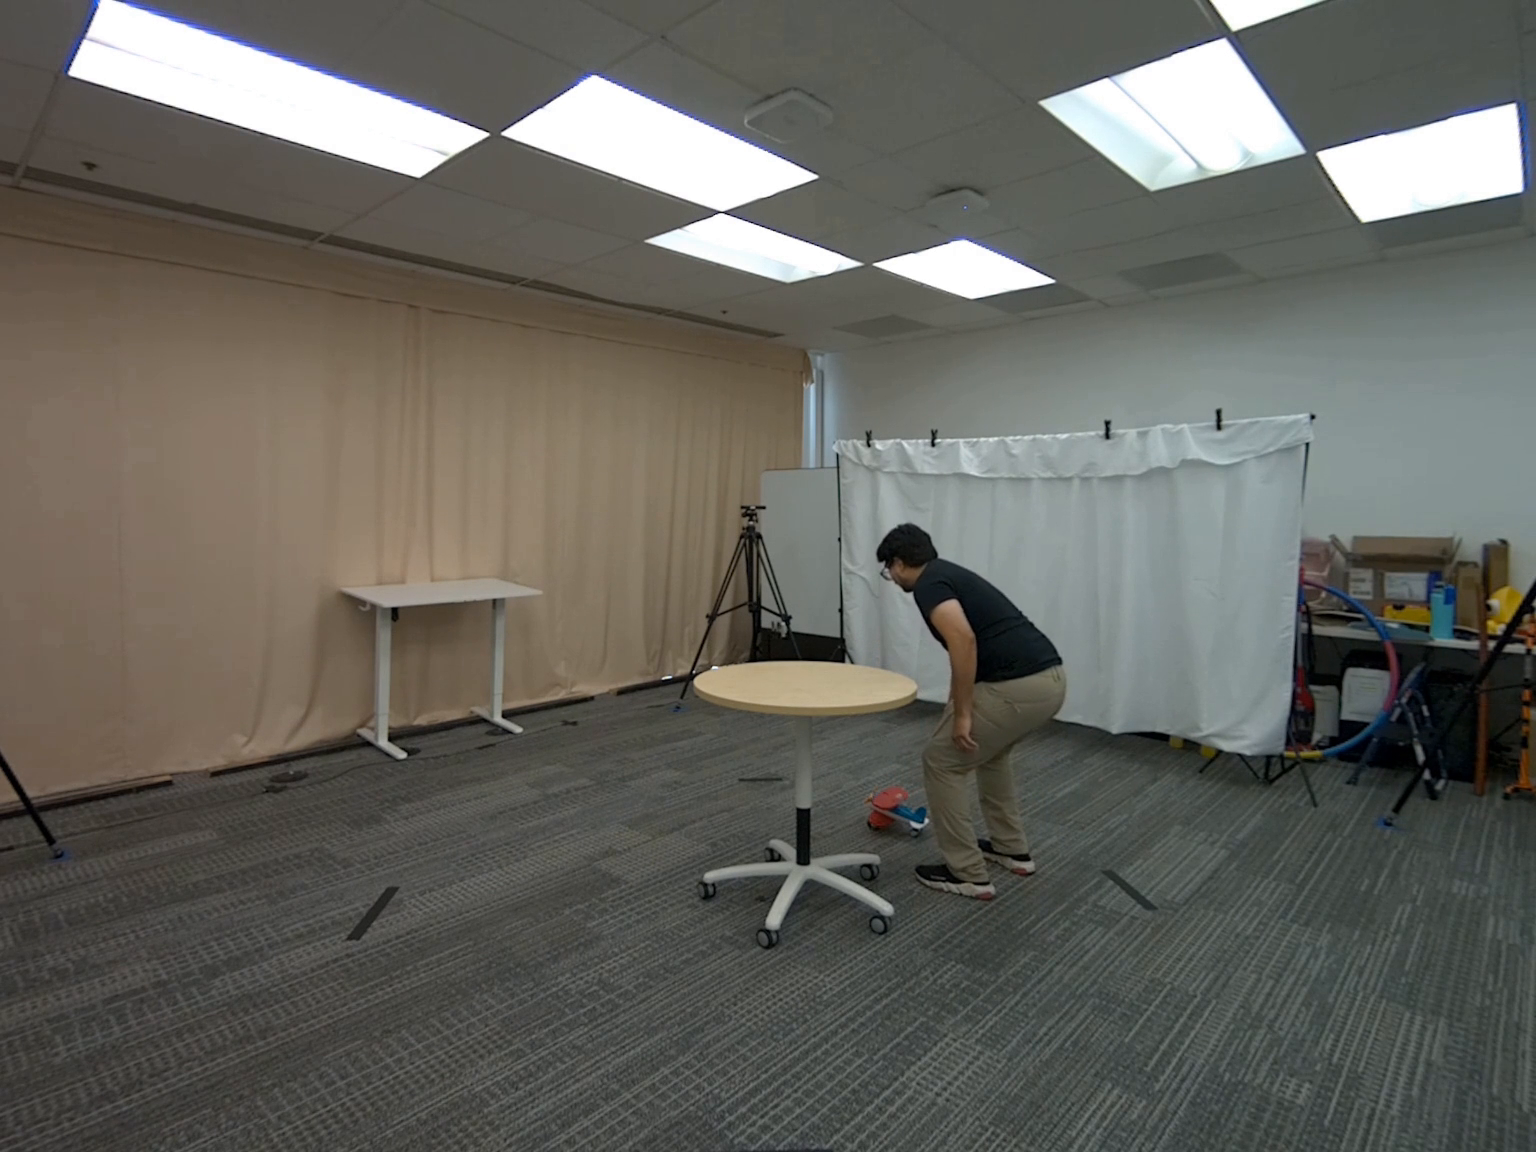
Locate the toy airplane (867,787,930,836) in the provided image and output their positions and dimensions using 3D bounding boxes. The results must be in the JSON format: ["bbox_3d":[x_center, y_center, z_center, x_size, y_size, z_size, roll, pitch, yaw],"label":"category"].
[{"bbox_3d":[0.560,1.014,3.625,0.261,0.156,0.250,-1,4,6],"label":"toy airplane"}]
